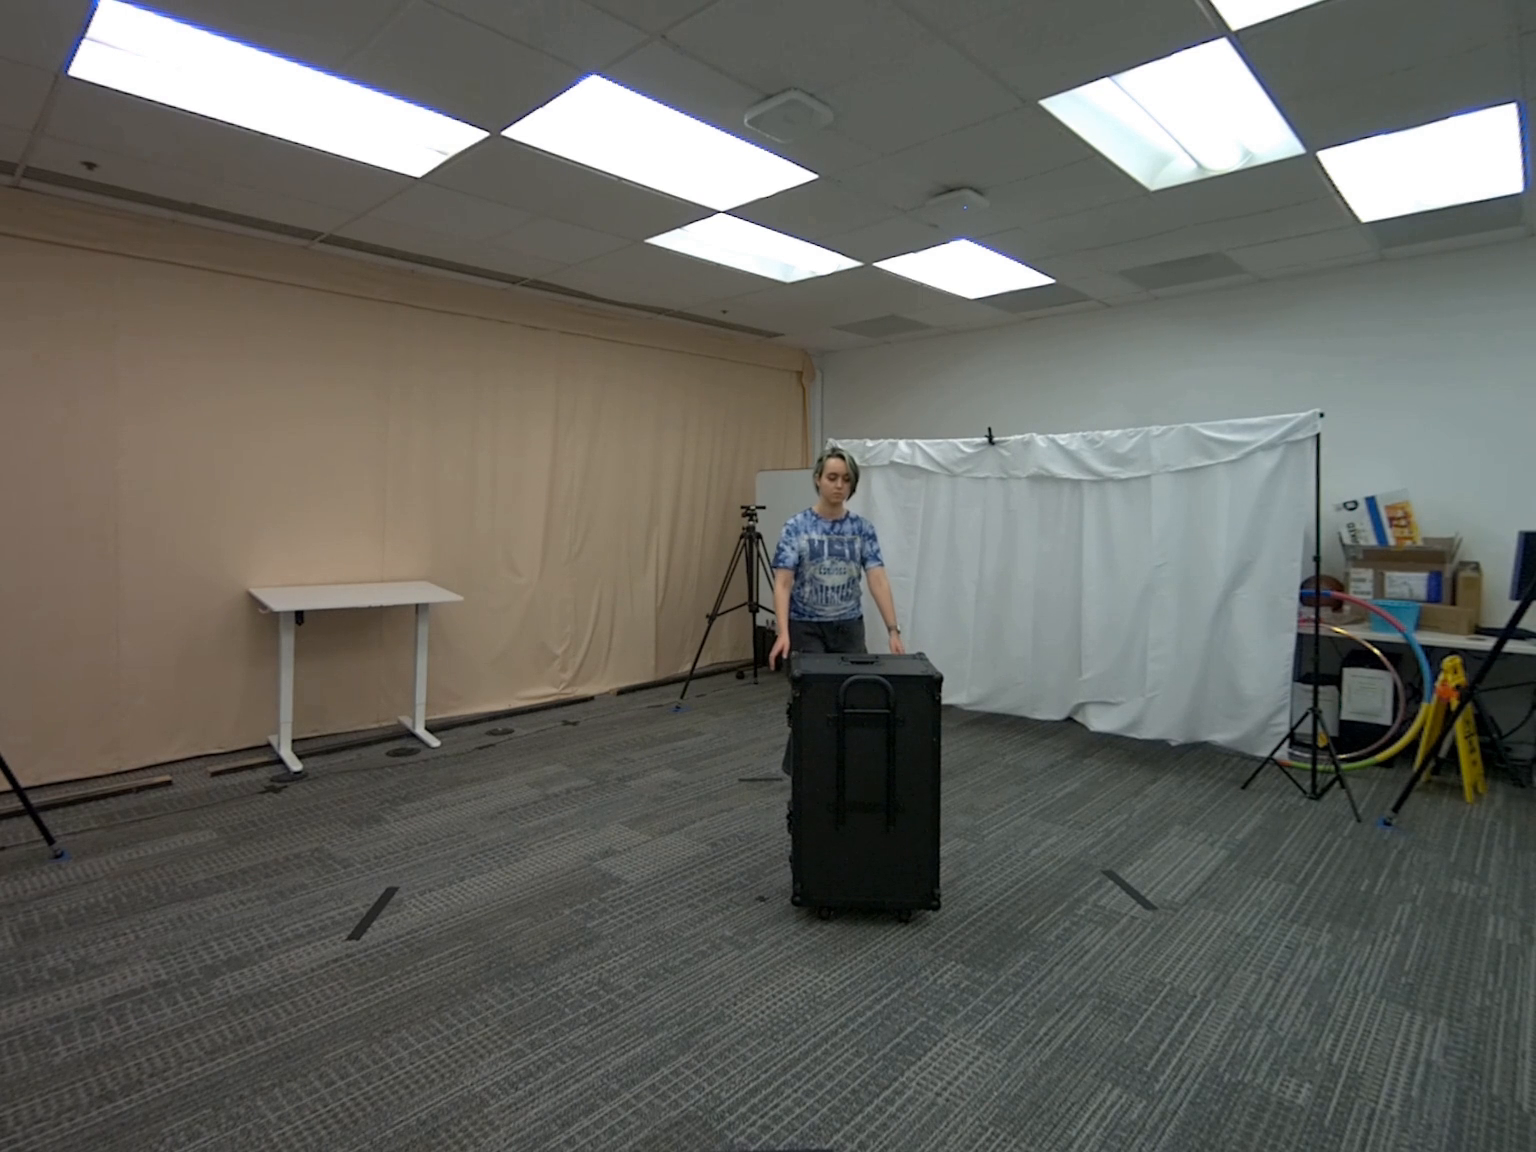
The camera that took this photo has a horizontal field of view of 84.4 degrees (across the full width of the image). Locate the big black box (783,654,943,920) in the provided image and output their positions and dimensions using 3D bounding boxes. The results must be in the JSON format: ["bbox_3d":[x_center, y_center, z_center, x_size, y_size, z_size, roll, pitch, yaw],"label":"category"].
[{"bbox_3d":[0.330,0.723,2.909,0.524,0.859,0.395,0,4,4],"label":"big black box"}]
